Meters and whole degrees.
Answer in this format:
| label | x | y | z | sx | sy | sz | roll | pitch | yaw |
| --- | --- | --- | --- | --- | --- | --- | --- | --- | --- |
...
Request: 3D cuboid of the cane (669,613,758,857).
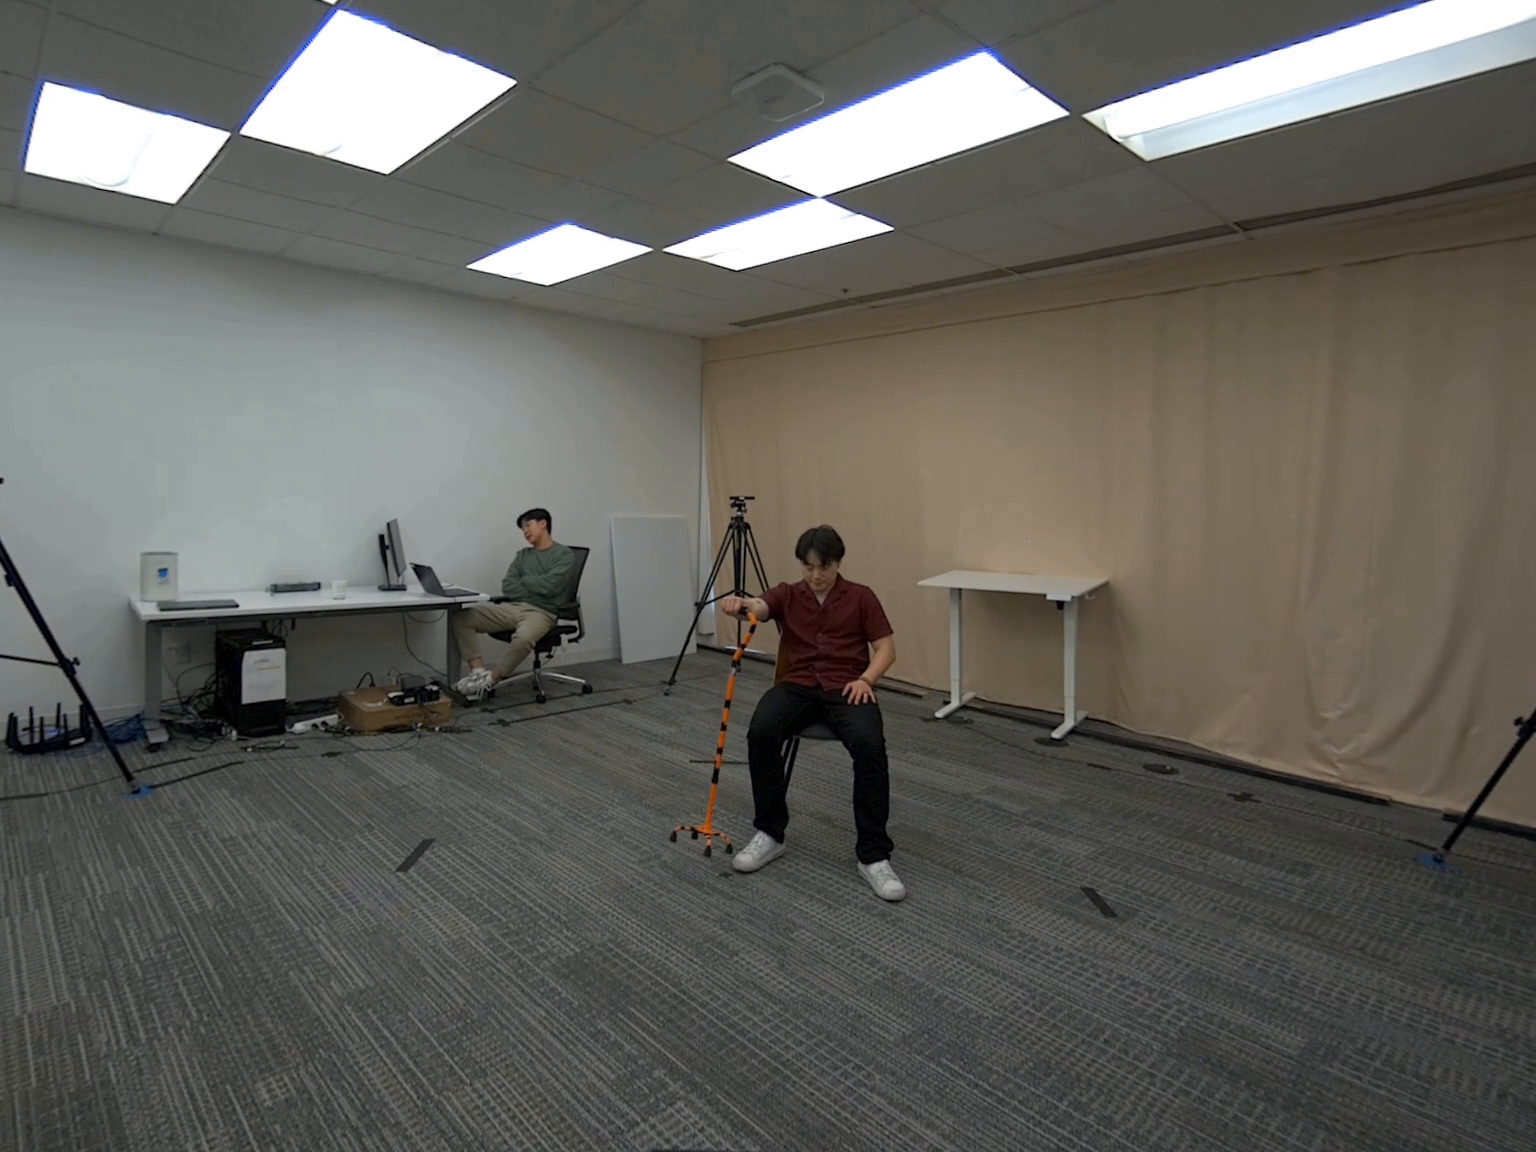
| label | x | y | z | sx | sy | sz | roll | pitch | yaw |
| --- | --- | --- | --- | --- | --- | --- | --- | --- | --- |
| cane | -0.181 | 0.569 | 3.175 | 0.212 | 0.910 | 0.147 | 5 | -5 | 40 |
